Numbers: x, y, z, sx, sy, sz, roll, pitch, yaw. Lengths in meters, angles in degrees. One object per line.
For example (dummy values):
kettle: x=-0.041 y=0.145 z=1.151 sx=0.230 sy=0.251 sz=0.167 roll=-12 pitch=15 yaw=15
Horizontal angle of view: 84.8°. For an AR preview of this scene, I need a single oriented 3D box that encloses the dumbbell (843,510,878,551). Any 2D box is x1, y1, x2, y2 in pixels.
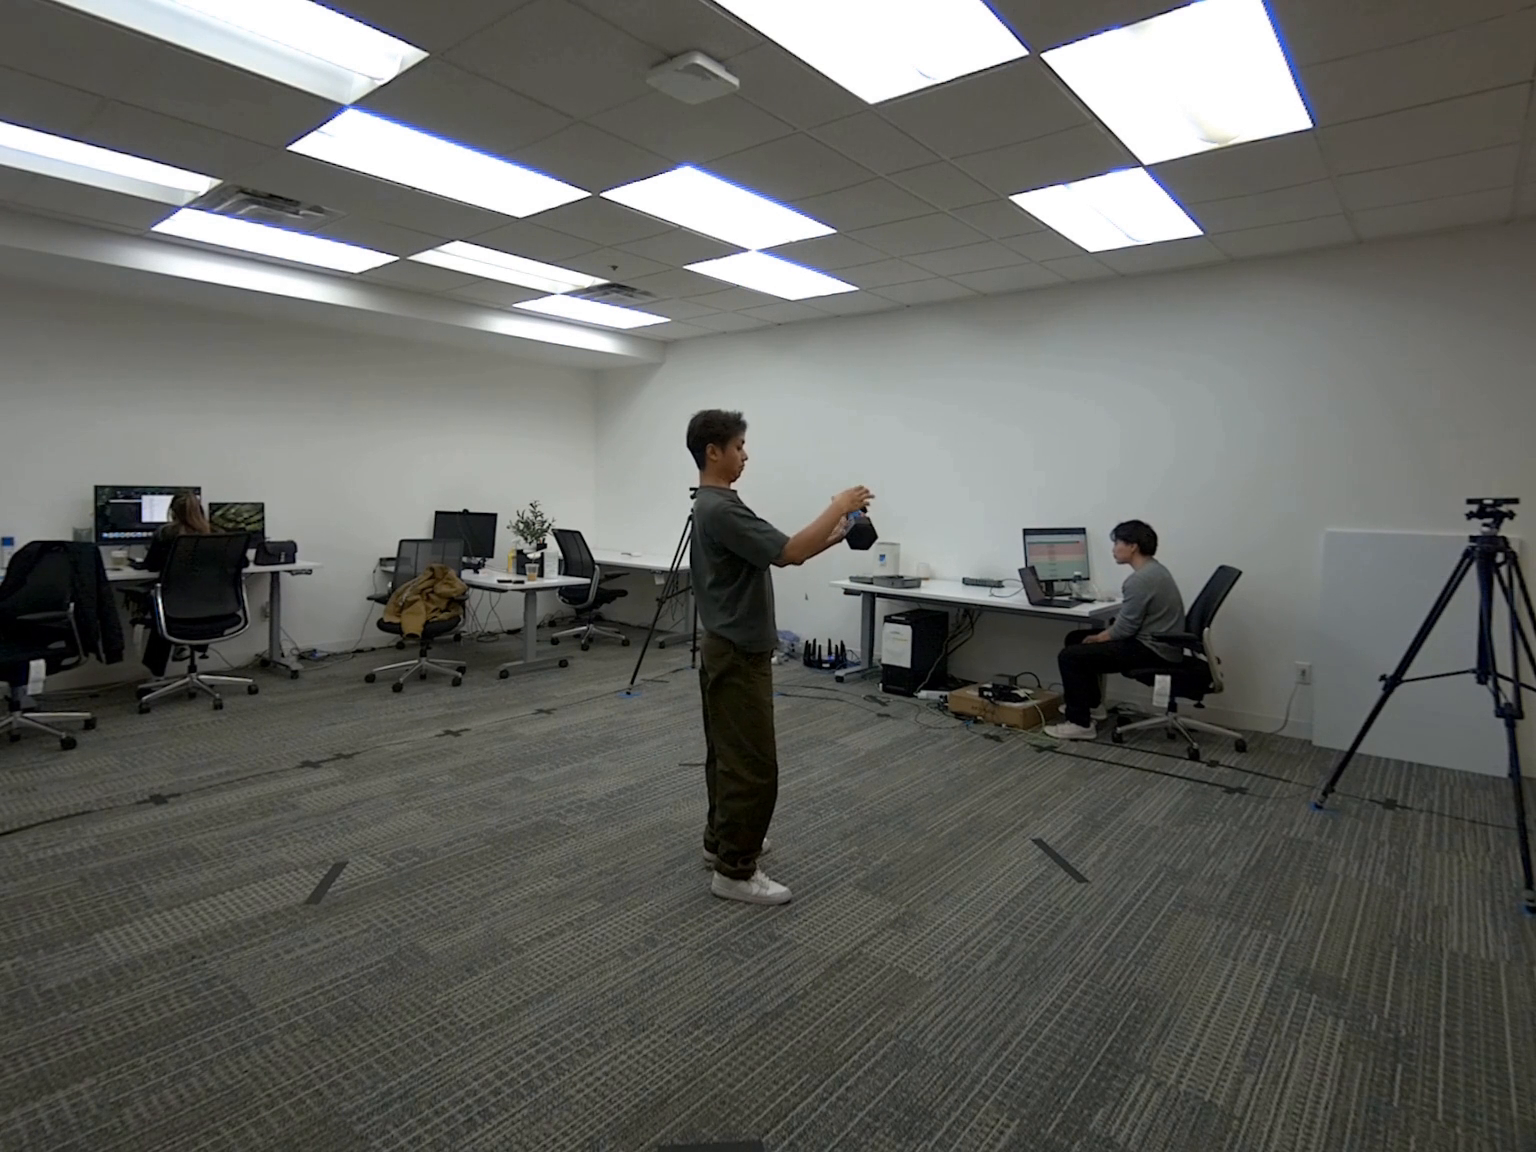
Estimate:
dumbbell: x=0.315 y=-0.205 z=3.141 sx=0.109 sy=0.119 sz=0.301 roll=-24 pitch=29 yaw=8
